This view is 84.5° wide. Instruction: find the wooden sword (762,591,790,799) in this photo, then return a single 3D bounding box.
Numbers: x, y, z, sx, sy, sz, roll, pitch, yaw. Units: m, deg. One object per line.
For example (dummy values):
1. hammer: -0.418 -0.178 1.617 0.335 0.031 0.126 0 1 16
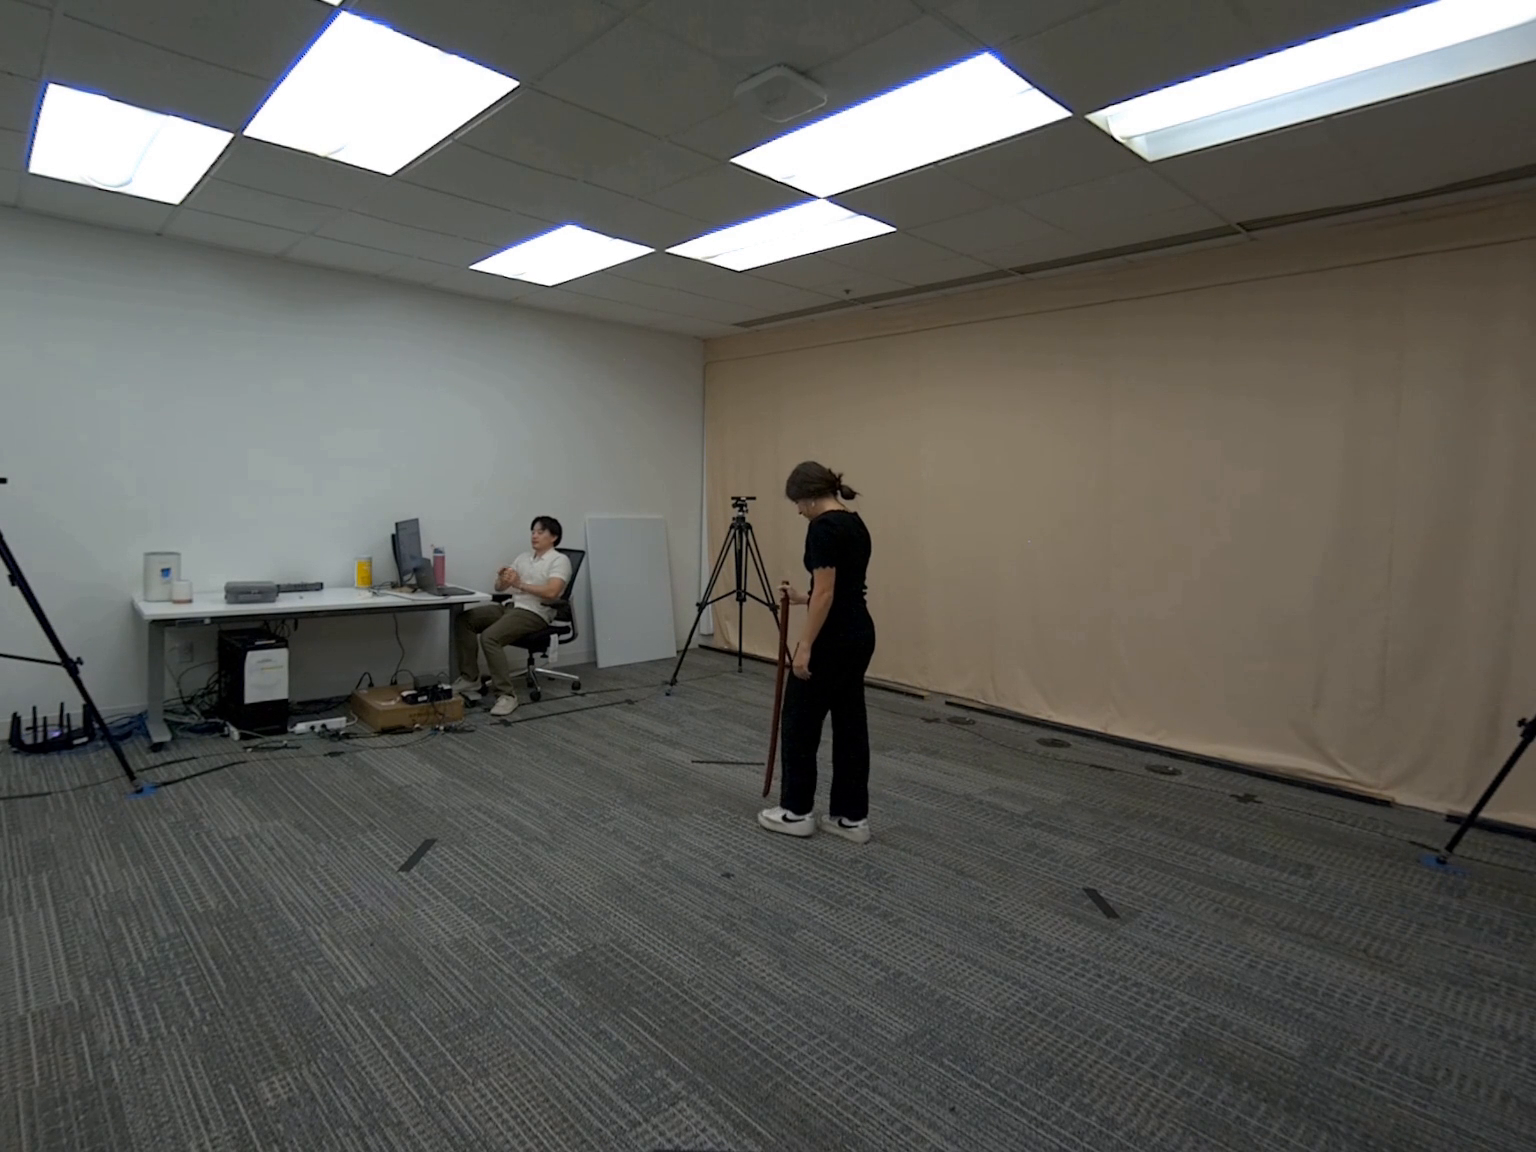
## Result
1. wooden sword: 0.030 0.549 3.884 0.024 1.020 0.051 6 6 1
